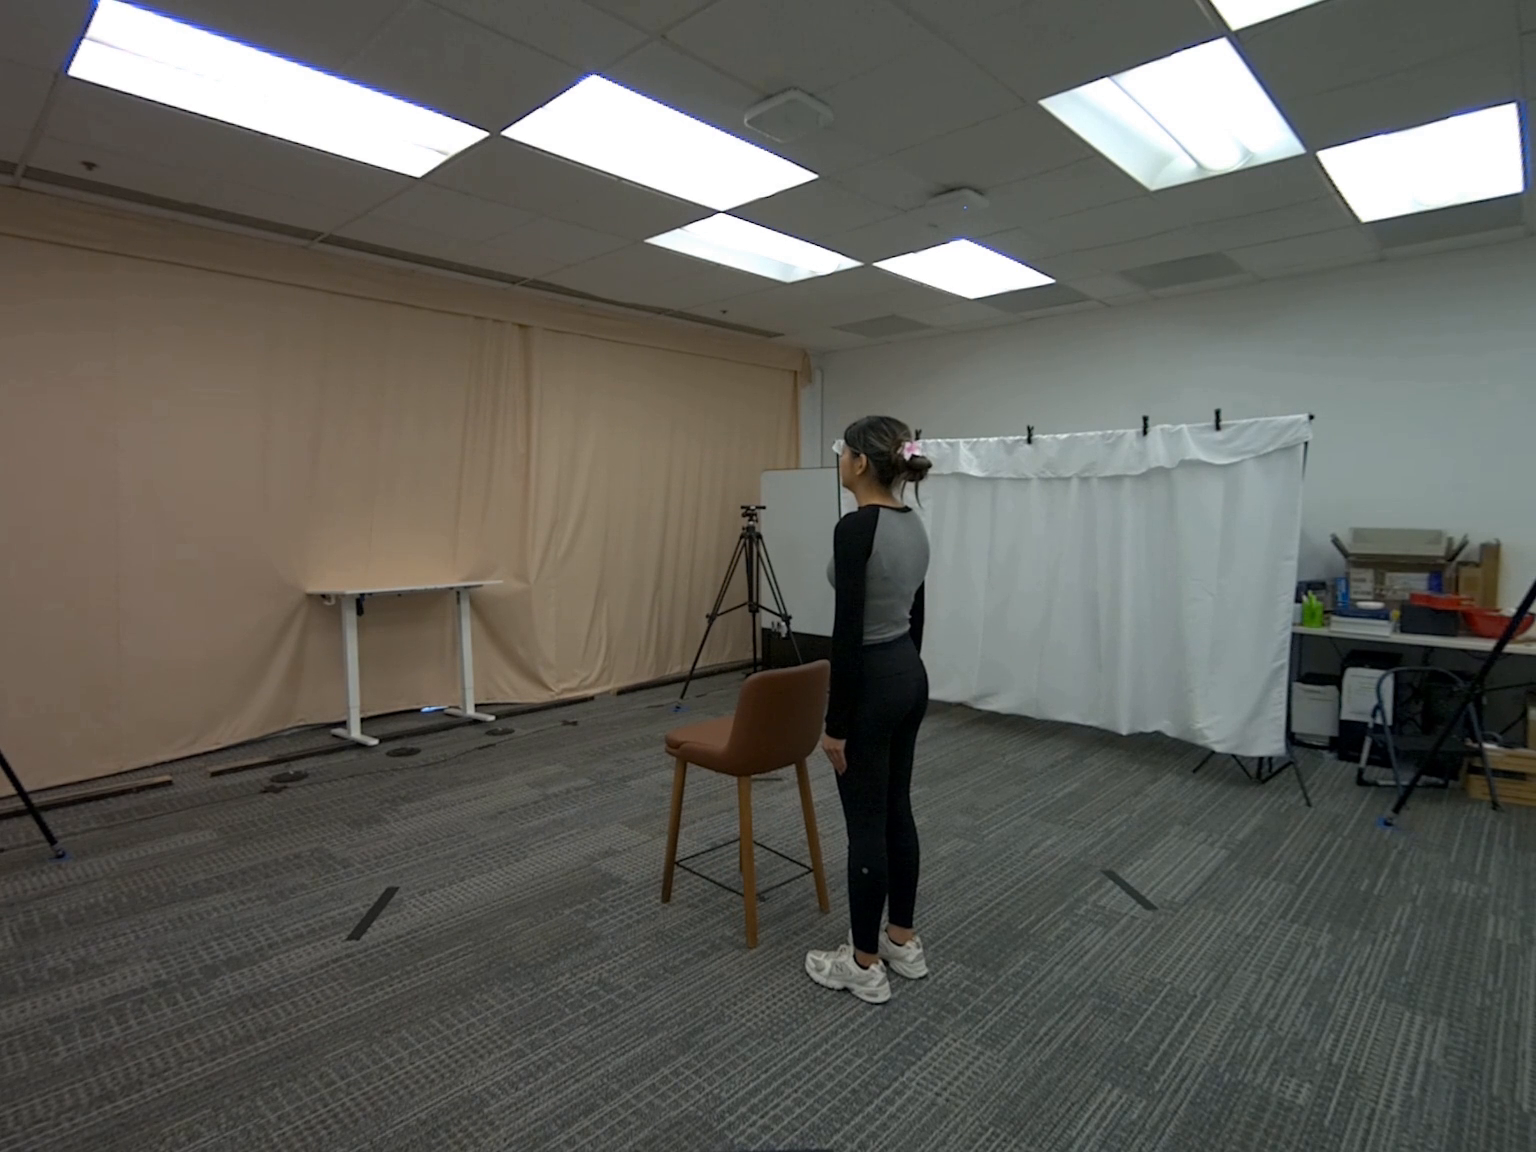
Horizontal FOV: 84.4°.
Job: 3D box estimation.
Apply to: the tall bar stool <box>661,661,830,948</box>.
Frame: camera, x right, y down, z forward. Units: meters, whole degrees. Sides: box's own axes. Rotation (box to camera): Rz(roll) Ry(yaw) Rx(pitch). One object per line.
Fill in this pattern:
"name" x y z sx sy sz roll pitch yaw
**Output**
"tall bar stool" -0.071 0.714 2.901 0.442 0.887 0.484 -4 7 -43
